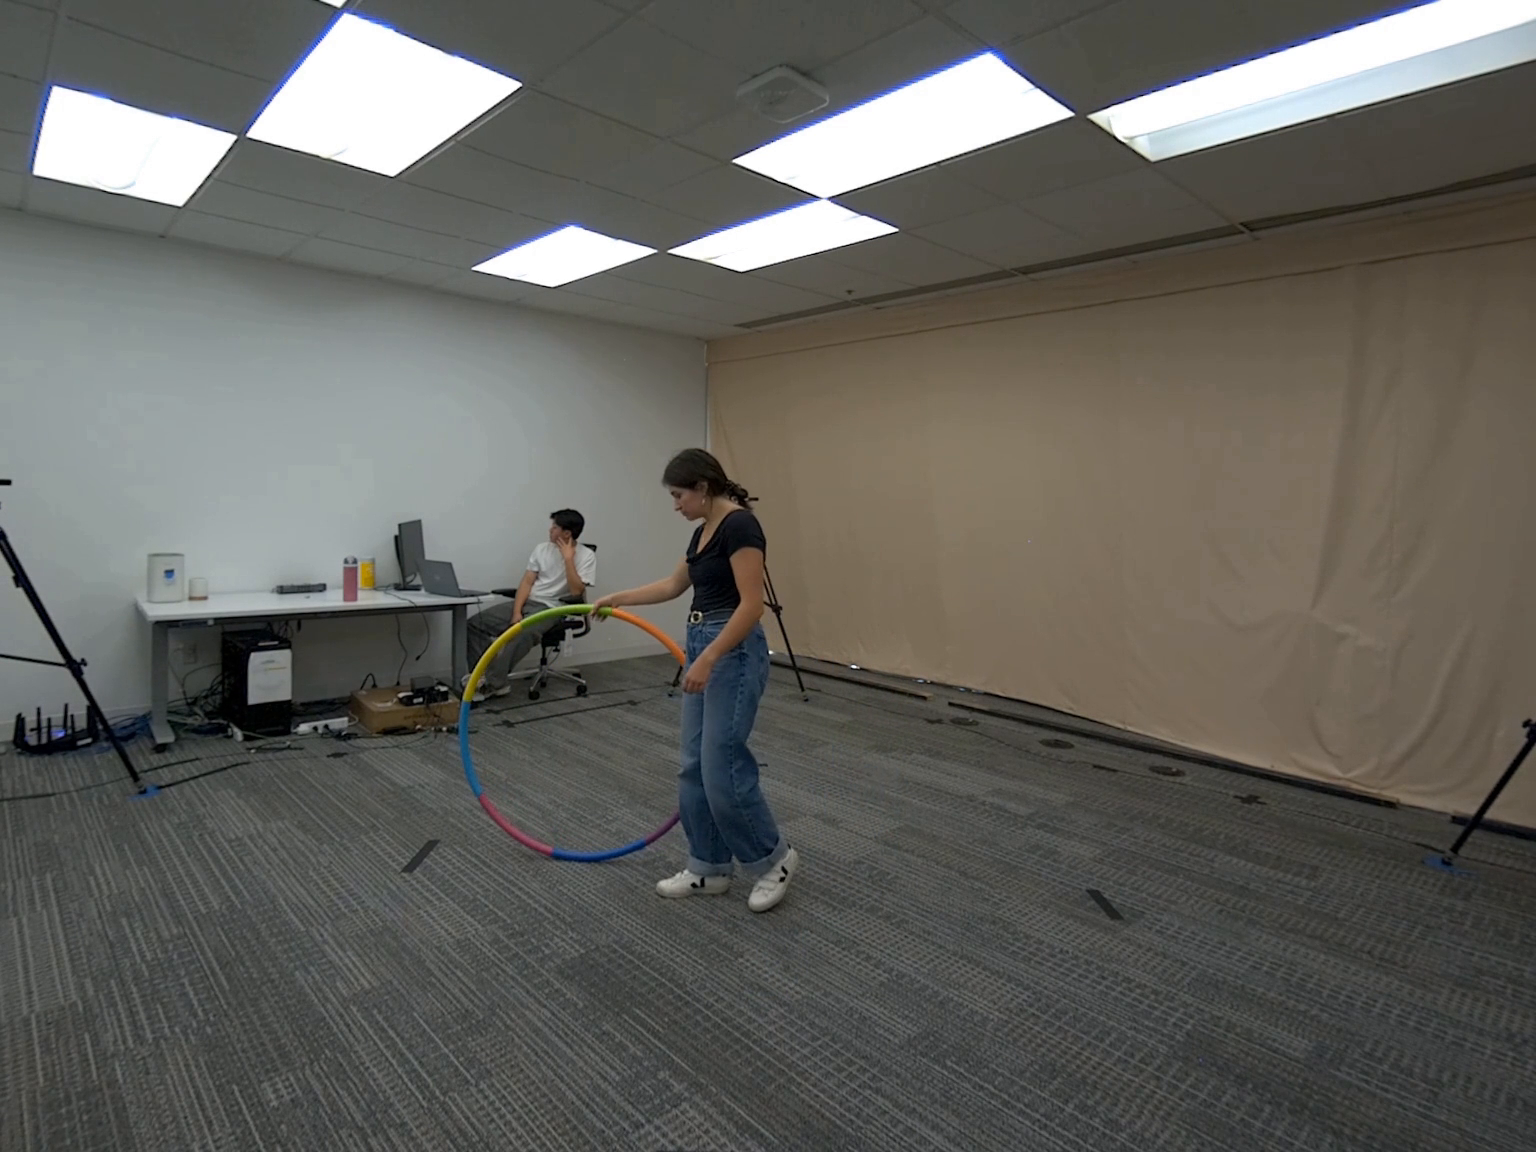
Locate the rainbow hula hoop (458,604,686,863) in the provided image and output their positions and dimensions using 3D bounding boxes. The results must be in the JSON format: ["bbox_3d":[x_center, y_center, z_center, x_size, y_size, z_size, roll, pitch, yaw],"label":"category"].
[{"bbox_3d":[-0.715,0.597,3.204,0.984,0.979,0.035,2,-1,7],"label":"rainbow hula hoop"}]
